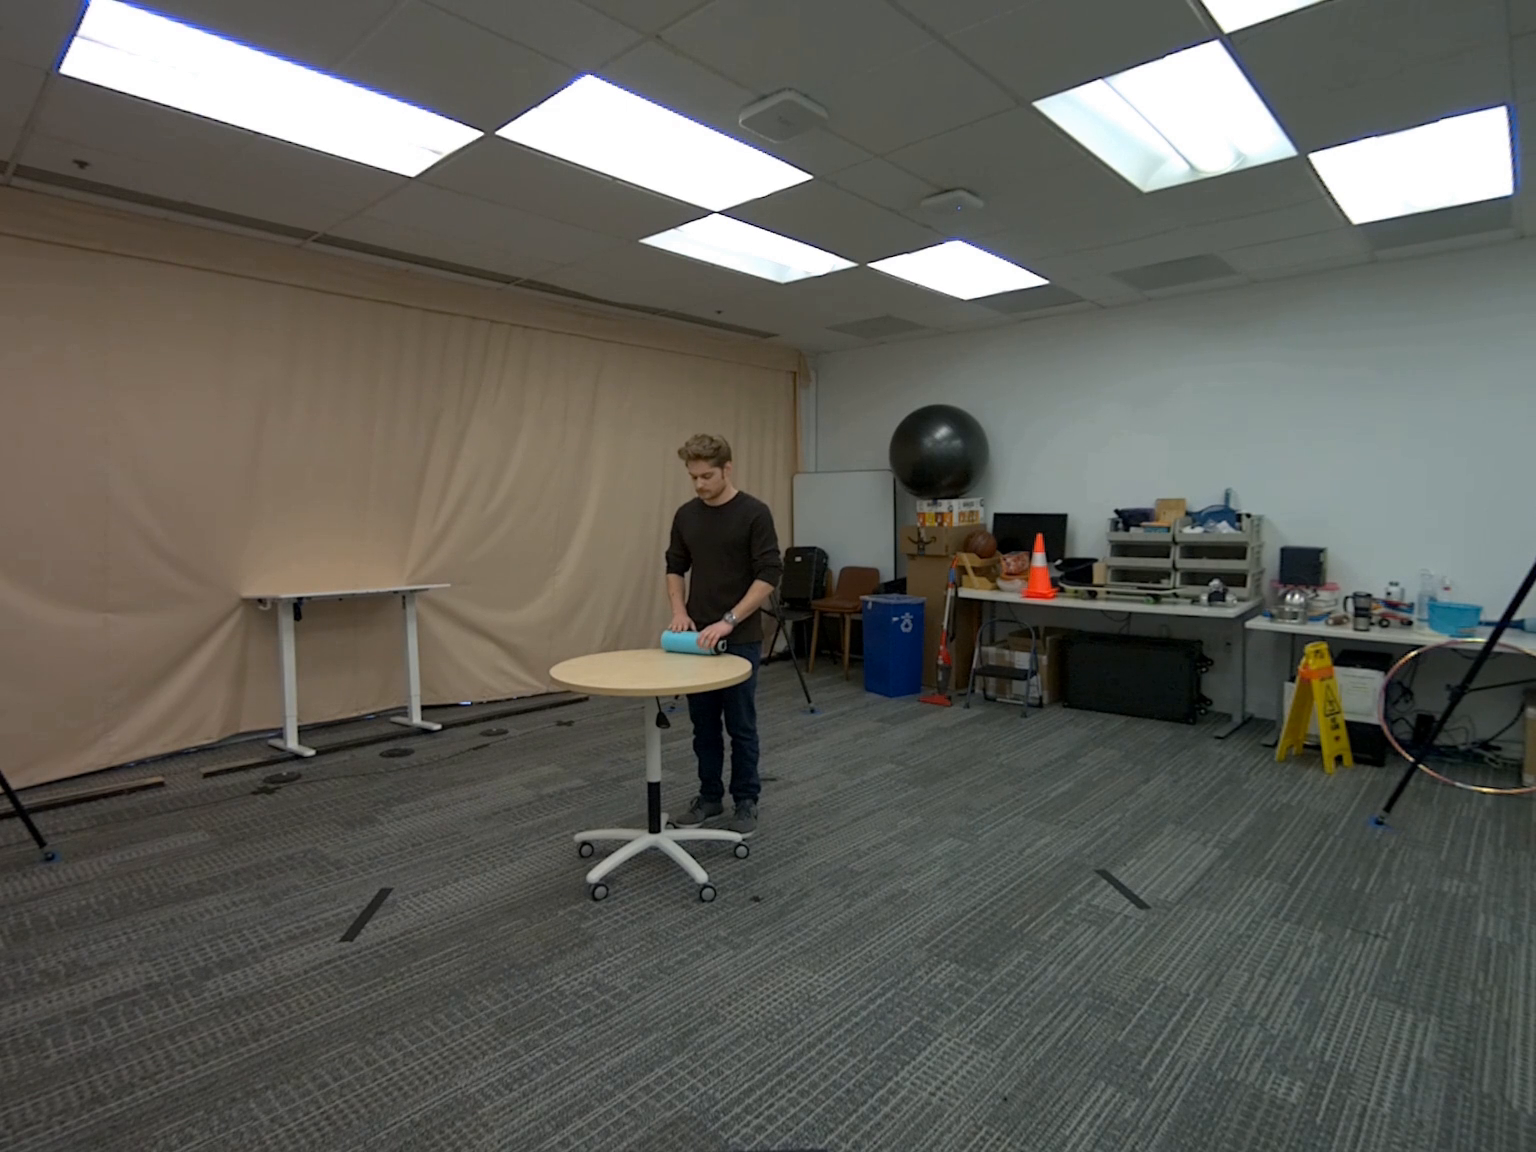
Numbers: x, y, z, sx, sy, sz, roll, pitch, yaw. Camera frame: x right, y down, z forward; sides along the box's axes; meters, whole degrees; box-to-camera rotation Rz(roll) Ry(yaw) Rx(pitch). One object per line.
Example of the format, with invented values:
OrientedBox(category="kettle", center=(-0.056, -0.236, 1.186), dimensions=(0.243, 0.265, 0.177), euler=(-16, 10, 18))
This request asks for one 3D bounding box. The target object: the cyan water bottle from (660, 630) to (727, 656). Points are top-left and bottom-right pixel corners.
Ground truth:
OrientedBox(category="cyan water bottle", center=(-0.307, 0.276, 3.479), dimensions=(0.290, 0.092, 0.090), euler=(3, 5, 24))
